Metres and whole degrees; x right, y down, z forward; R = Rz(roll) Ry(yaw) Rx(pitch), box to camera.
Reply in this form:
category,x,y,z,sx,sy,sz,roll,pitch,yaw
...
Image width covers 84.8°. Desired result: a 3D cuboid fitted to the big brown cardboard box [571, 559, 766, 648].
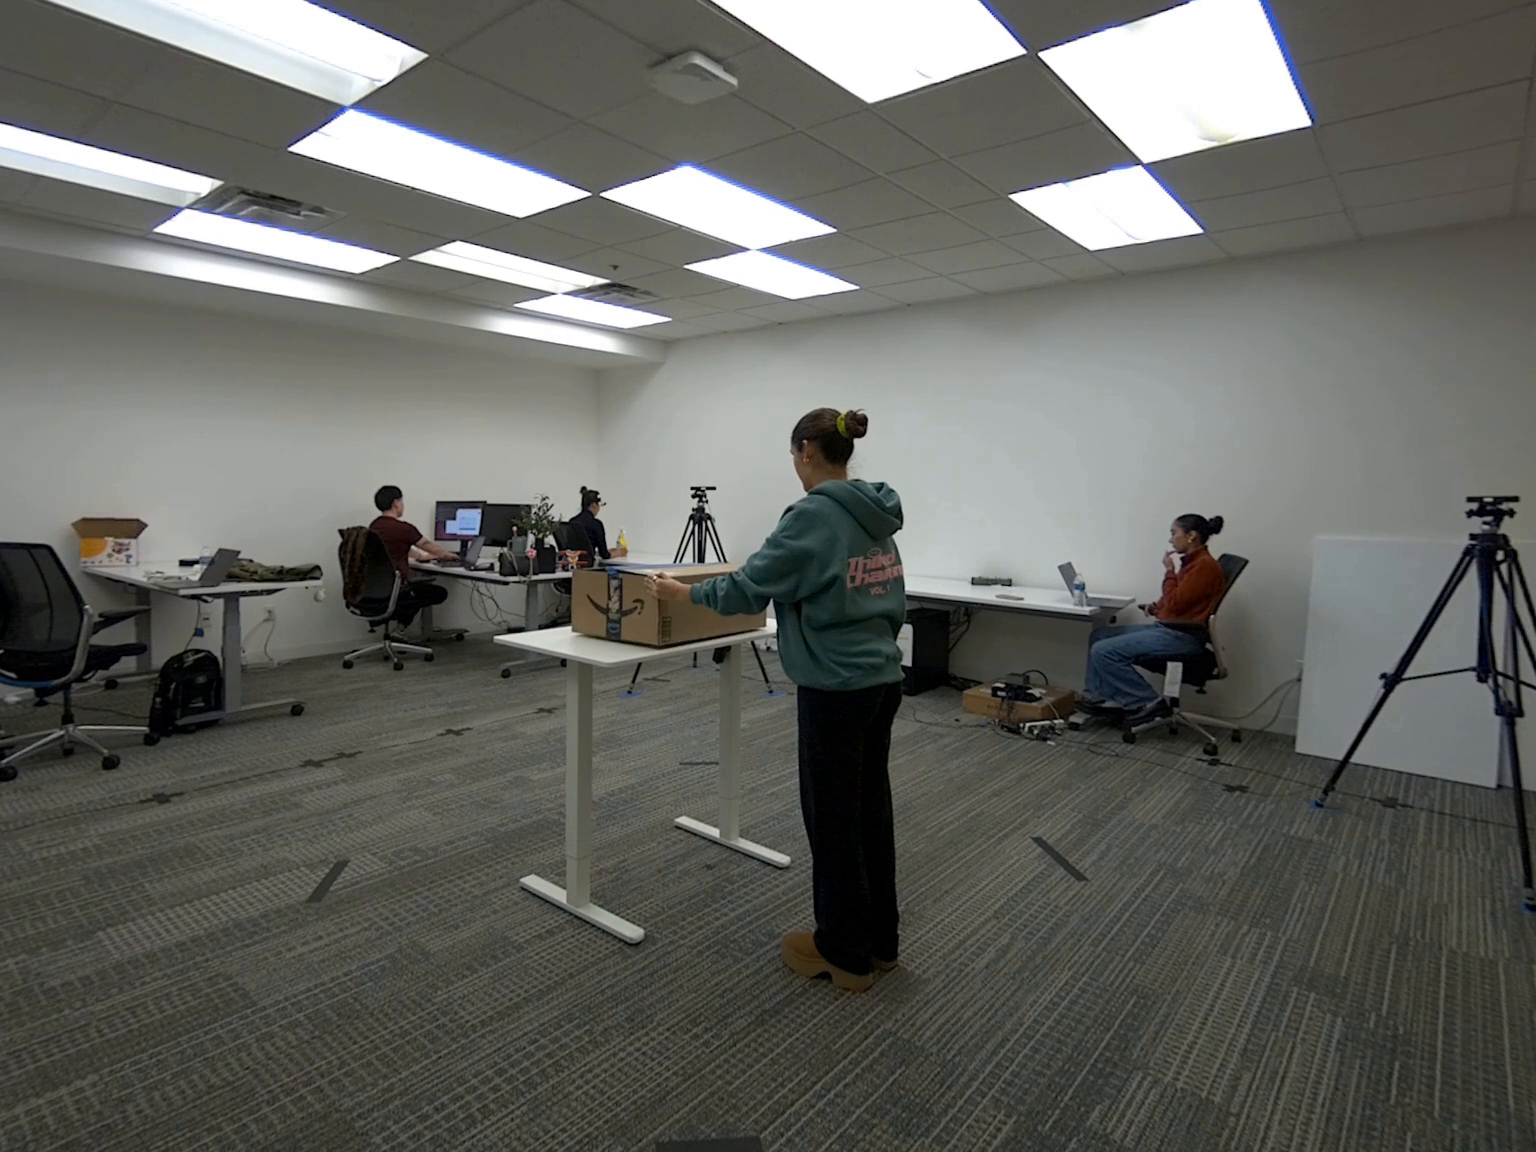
category,x,y,z,sx,sy,sz,roll,pitch,yaw
big brown cardboard box,-0.349,0.080,2.964,0.431,0.233,0.571,3,4,37
